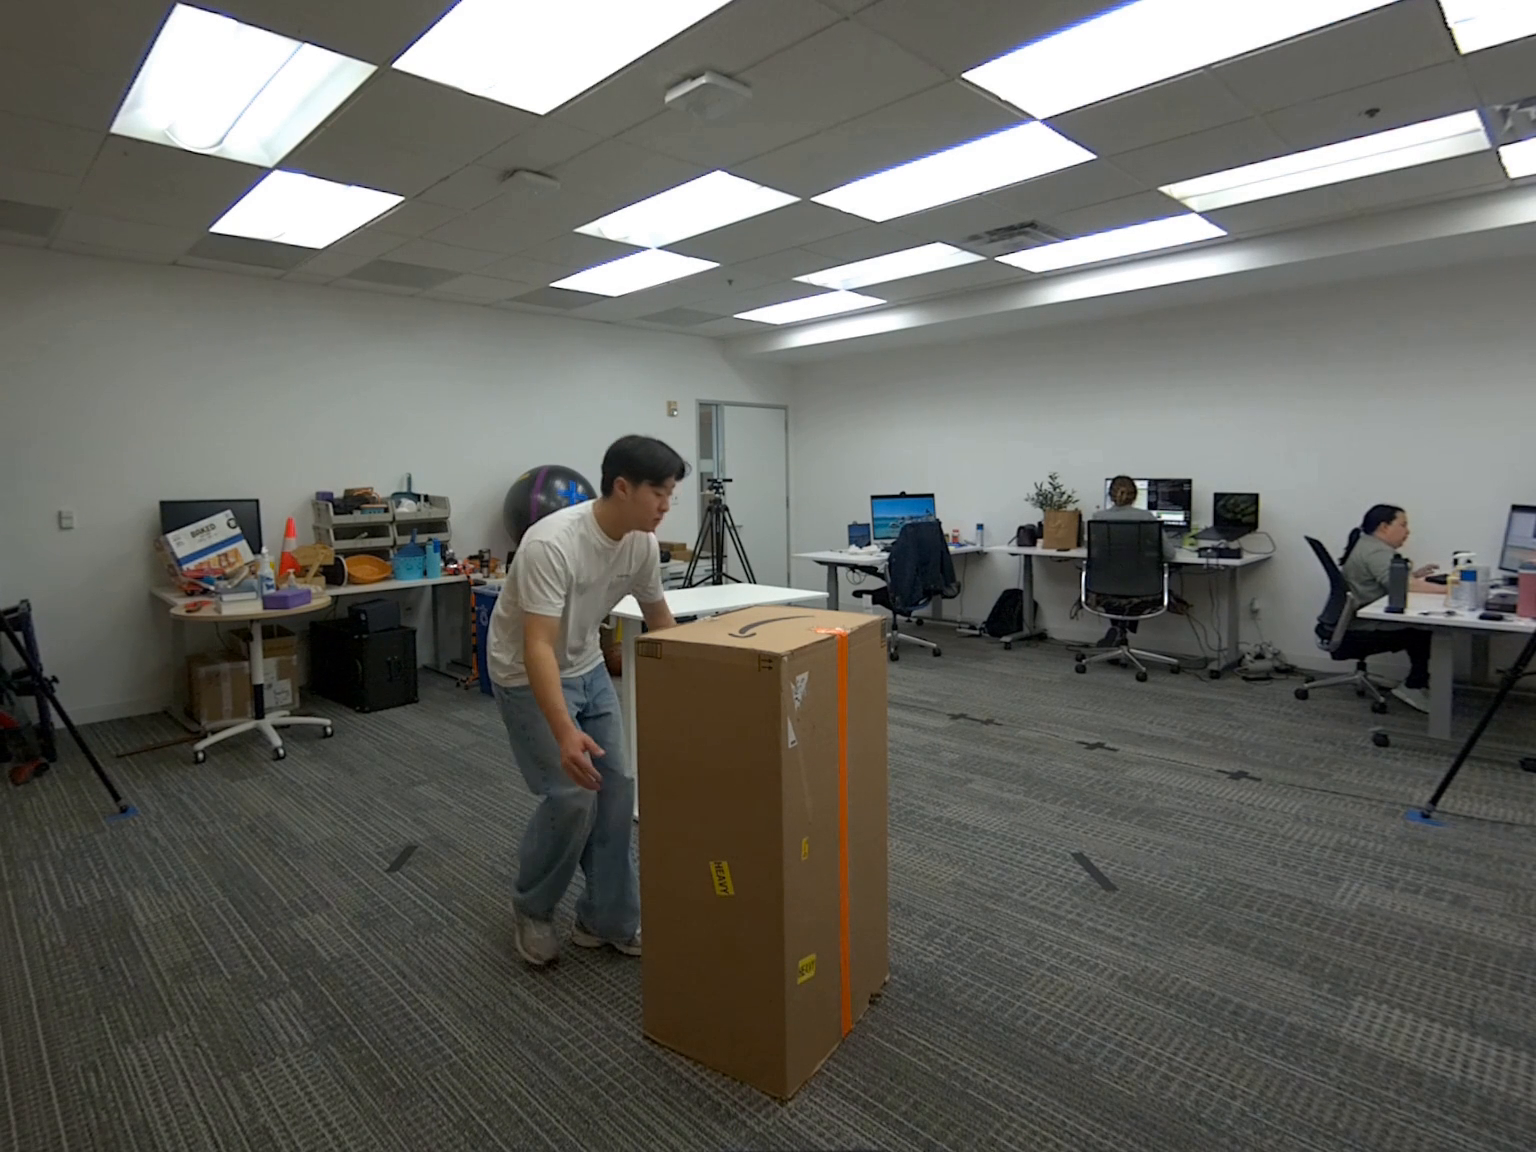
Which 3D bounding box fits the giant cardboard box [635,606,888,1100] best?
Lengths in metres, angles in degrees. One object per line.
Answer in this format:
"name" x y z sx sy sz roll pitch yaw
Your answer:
"giant cardboard box" 0.012 0.635 2.236 0.438 1.022 0.564 1 5 34
